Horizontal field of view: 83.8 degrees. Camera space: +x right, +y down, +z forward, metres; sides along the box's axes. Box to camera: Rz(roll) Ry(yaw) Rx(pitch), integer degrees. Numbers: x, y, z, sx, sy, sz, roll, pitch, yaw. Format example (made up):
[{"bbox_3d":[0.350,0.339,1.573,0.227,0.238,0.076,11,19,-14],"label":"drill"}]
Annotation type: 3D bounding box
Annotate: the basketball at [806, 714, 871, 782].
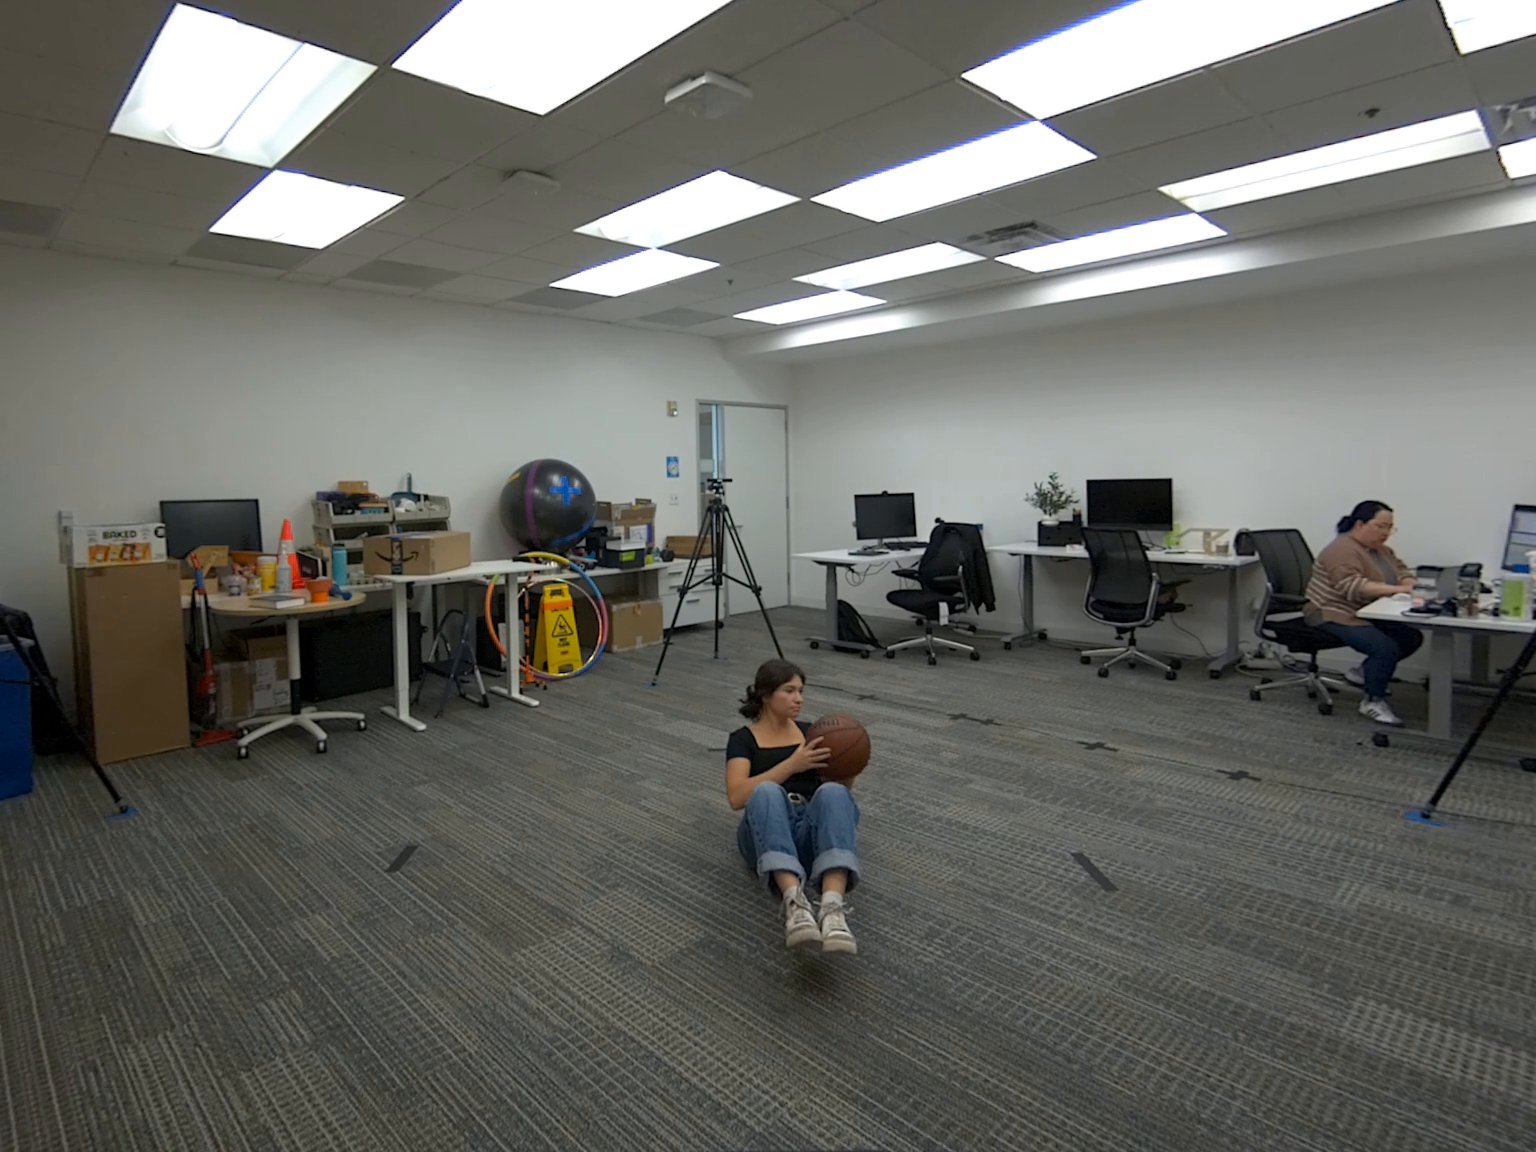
[{"bbox_3d":[0.258,0.631,3.123,0.236,0.235,0.237,-1,5,-2],"label":"basketball"}]
